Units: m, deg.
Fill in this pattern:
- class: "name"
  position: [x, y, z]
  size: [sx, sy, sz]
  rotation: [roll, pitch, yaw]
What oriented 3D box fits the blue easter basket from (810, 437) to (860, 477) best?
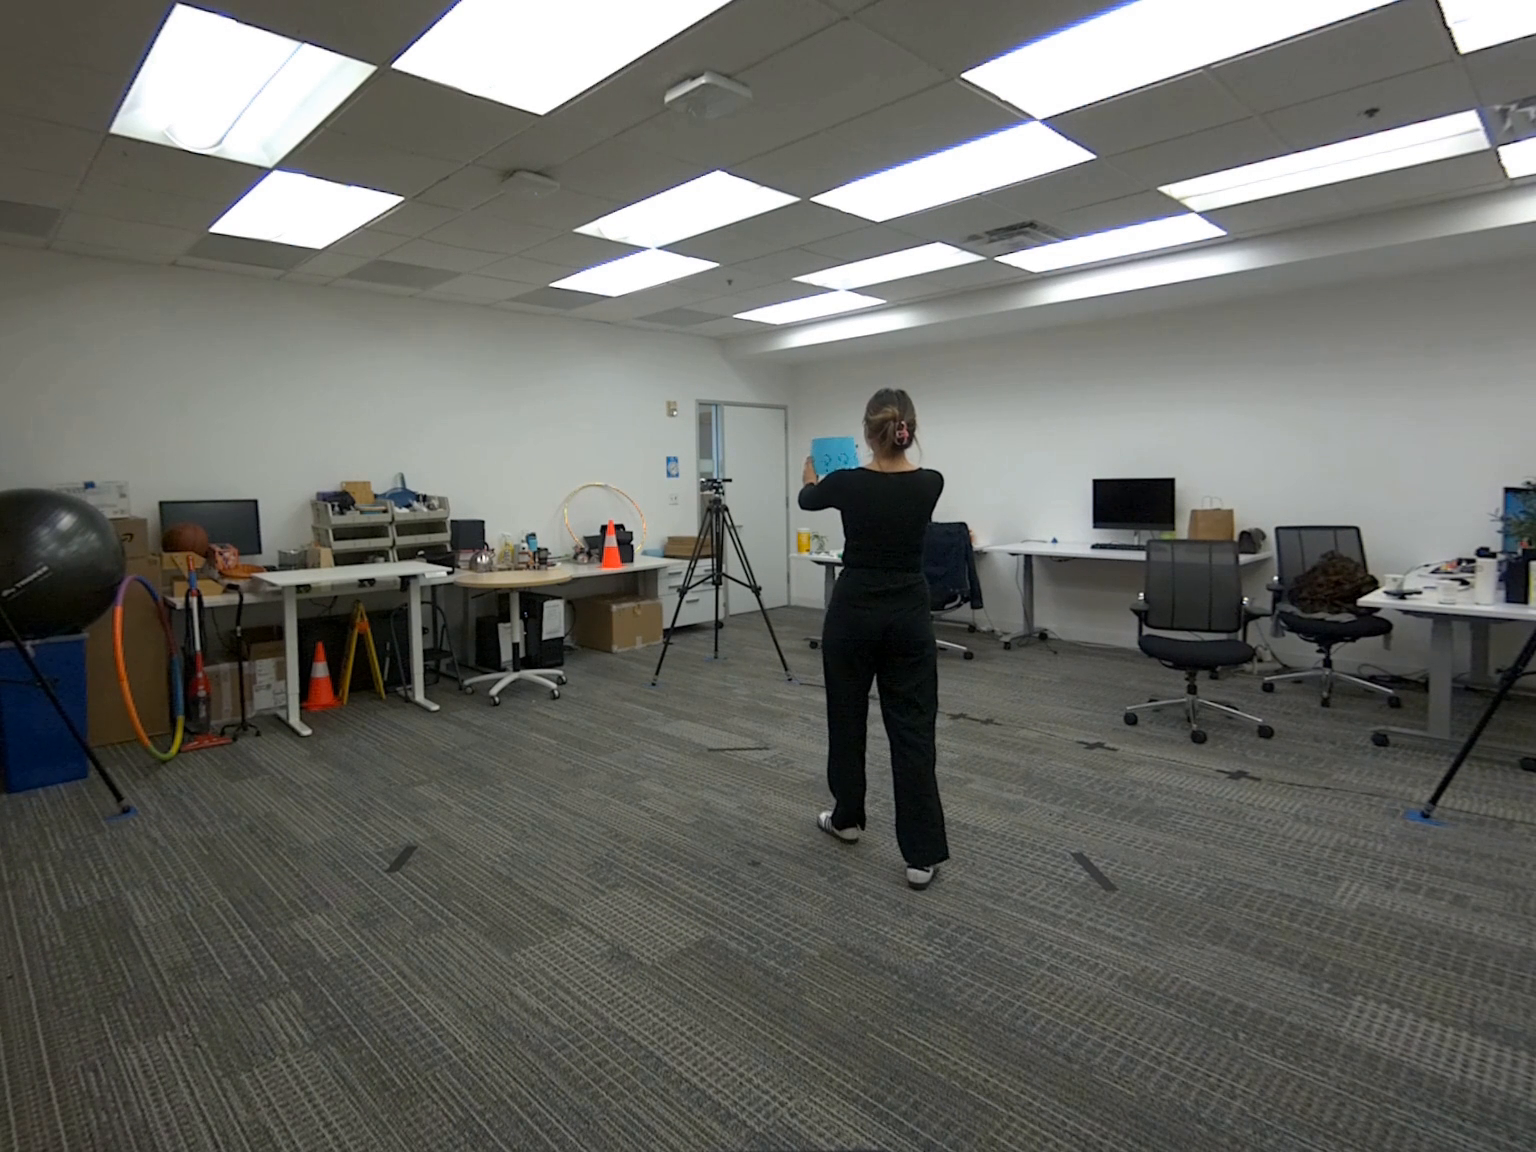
- class: "blue easter basket"
  position: [0.287, -0.517, 3.651]
  size: [0.243, 0.155, 0.245]
  rotation: [-5, 7, -1]
